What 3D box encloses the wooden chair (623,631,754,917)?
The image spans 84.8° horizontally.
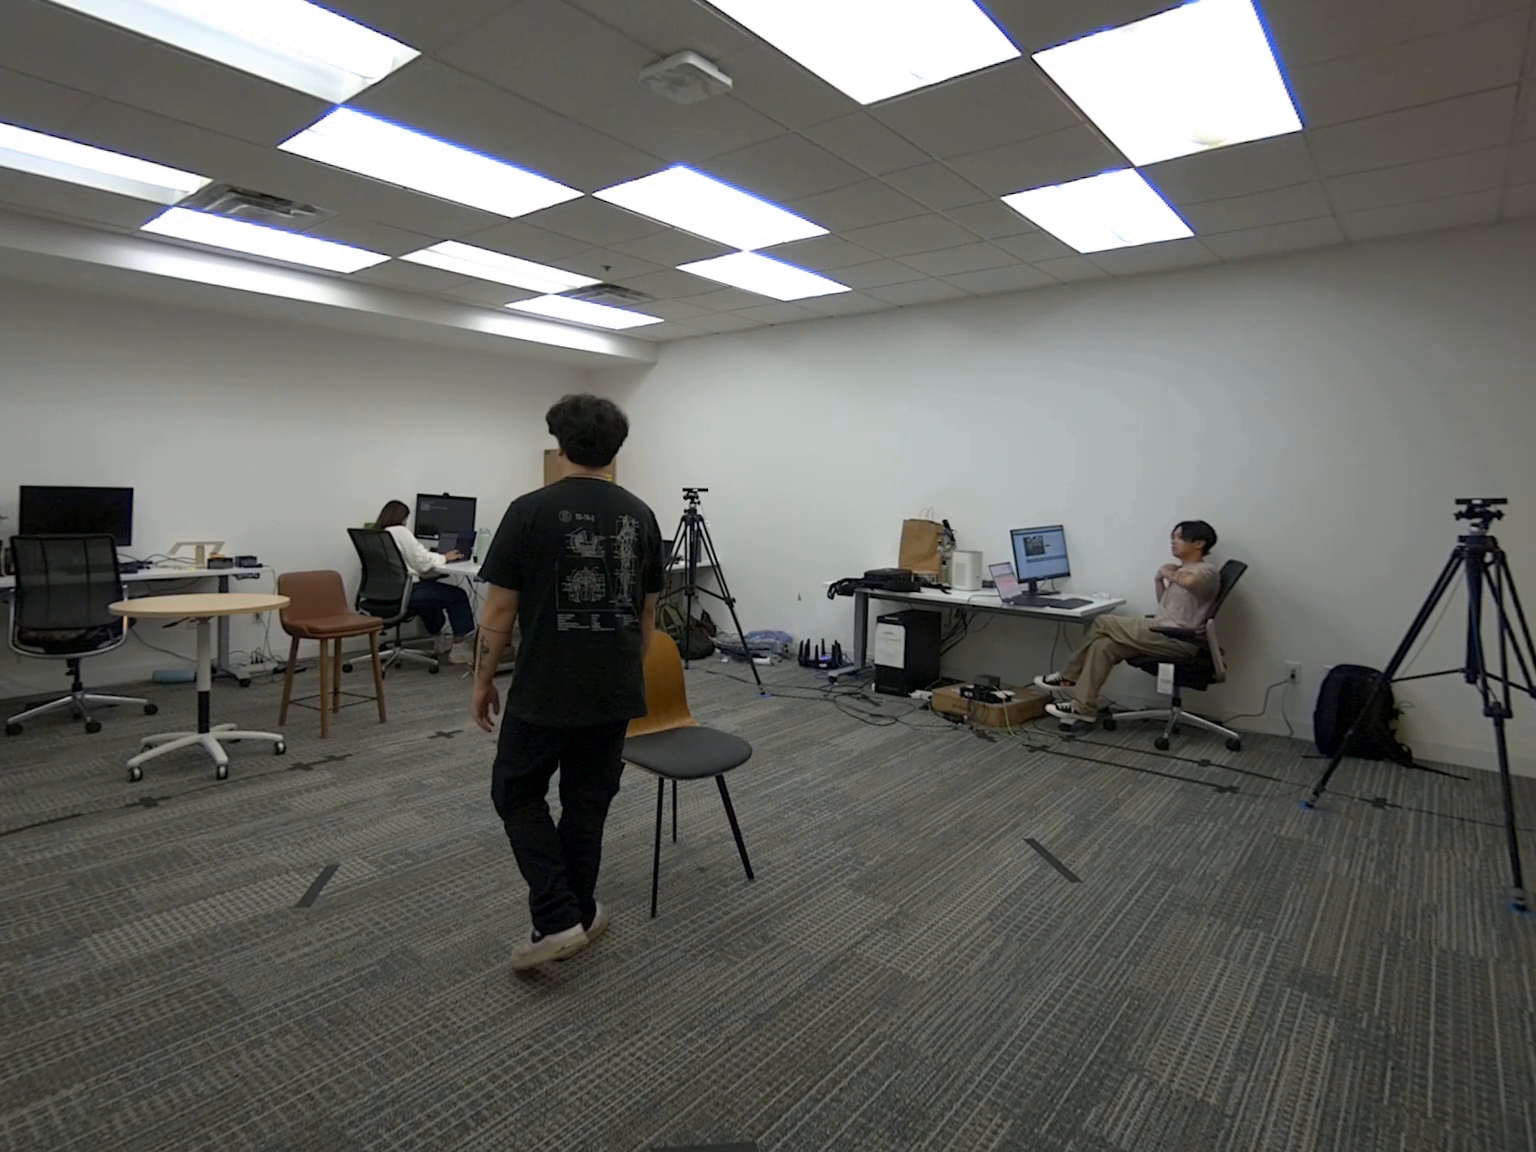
[{"bbox_3d":[-0.357,0.648,3.025,0.463,0.878,0.539,-1,0,-43],"label":"wooden chair"}]
